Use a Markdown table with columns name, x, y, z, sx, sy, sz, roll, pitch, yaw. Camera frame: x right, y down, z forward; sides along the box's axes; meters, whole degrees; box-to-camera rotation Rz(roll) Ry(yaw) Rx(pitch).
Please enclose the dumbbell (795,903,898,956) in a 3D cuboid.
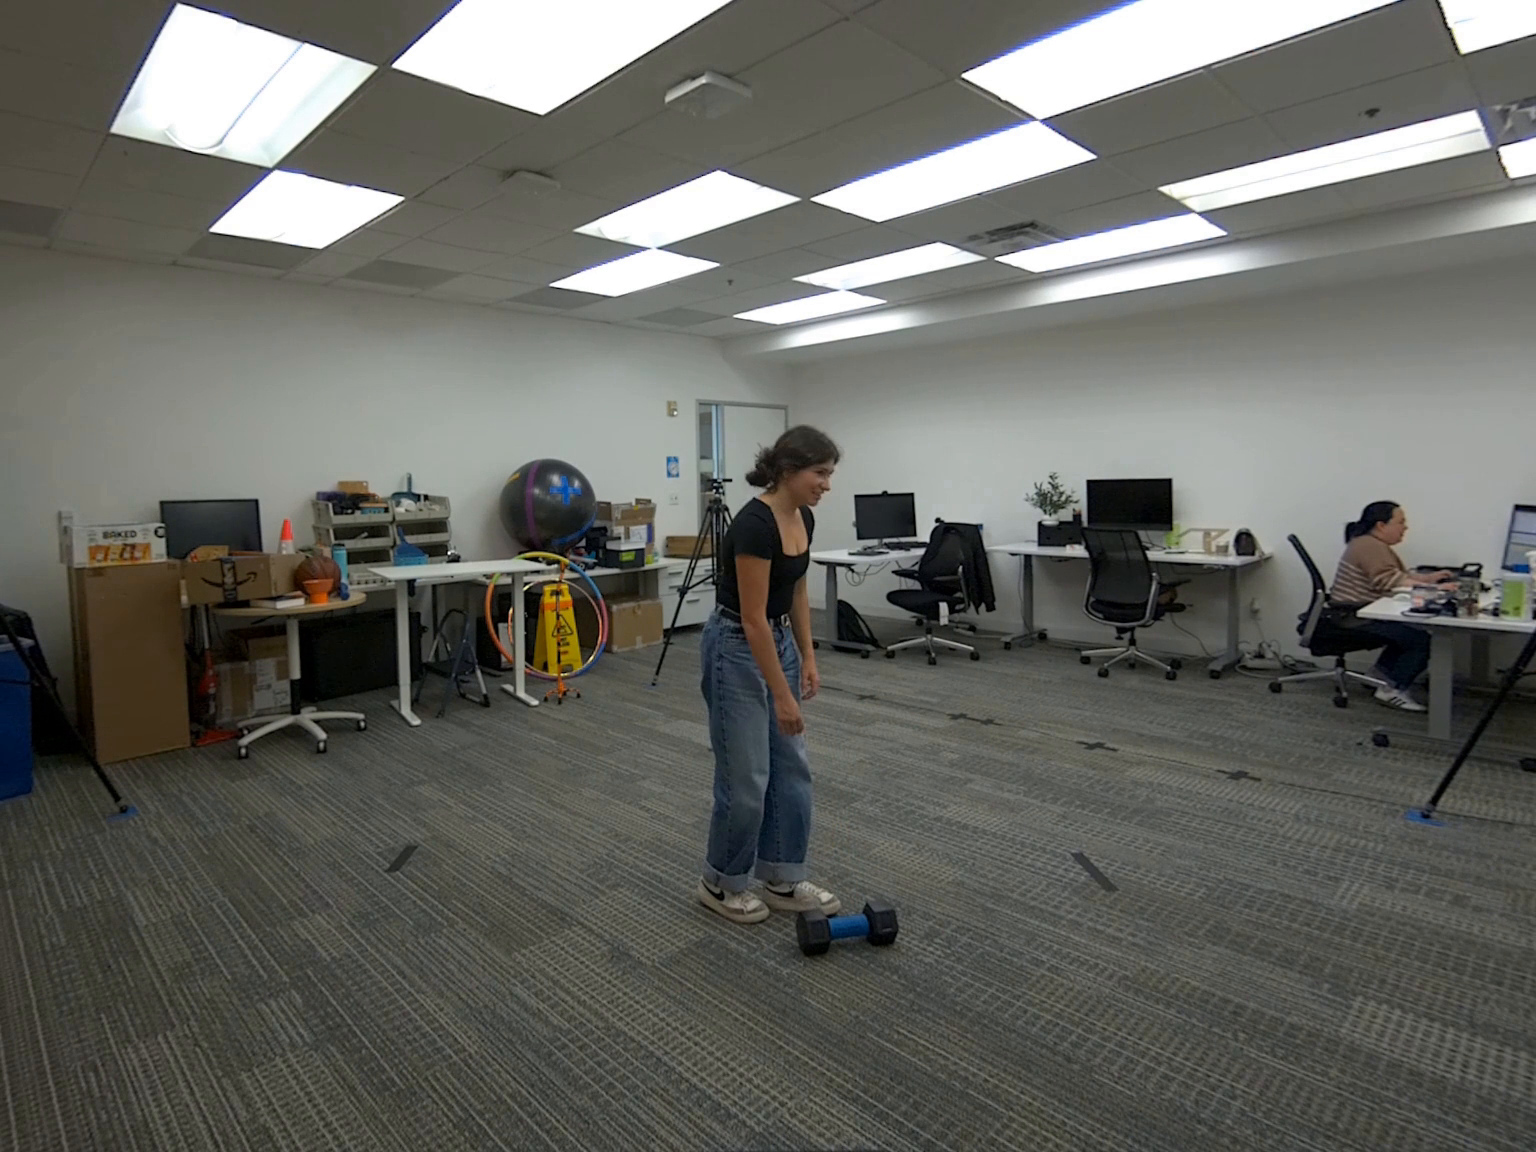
| name | x | y | z | sx | sy | sz | roll | pitch | yaw |
| --- | --- | --- | --- | --- | --- | --- | --- | --- | --- |
| dumbbell | 0.243 | 1.052 | 2.550 | 0.290 | 0.120 | 0.112 | -2 | 35 | -11 |
